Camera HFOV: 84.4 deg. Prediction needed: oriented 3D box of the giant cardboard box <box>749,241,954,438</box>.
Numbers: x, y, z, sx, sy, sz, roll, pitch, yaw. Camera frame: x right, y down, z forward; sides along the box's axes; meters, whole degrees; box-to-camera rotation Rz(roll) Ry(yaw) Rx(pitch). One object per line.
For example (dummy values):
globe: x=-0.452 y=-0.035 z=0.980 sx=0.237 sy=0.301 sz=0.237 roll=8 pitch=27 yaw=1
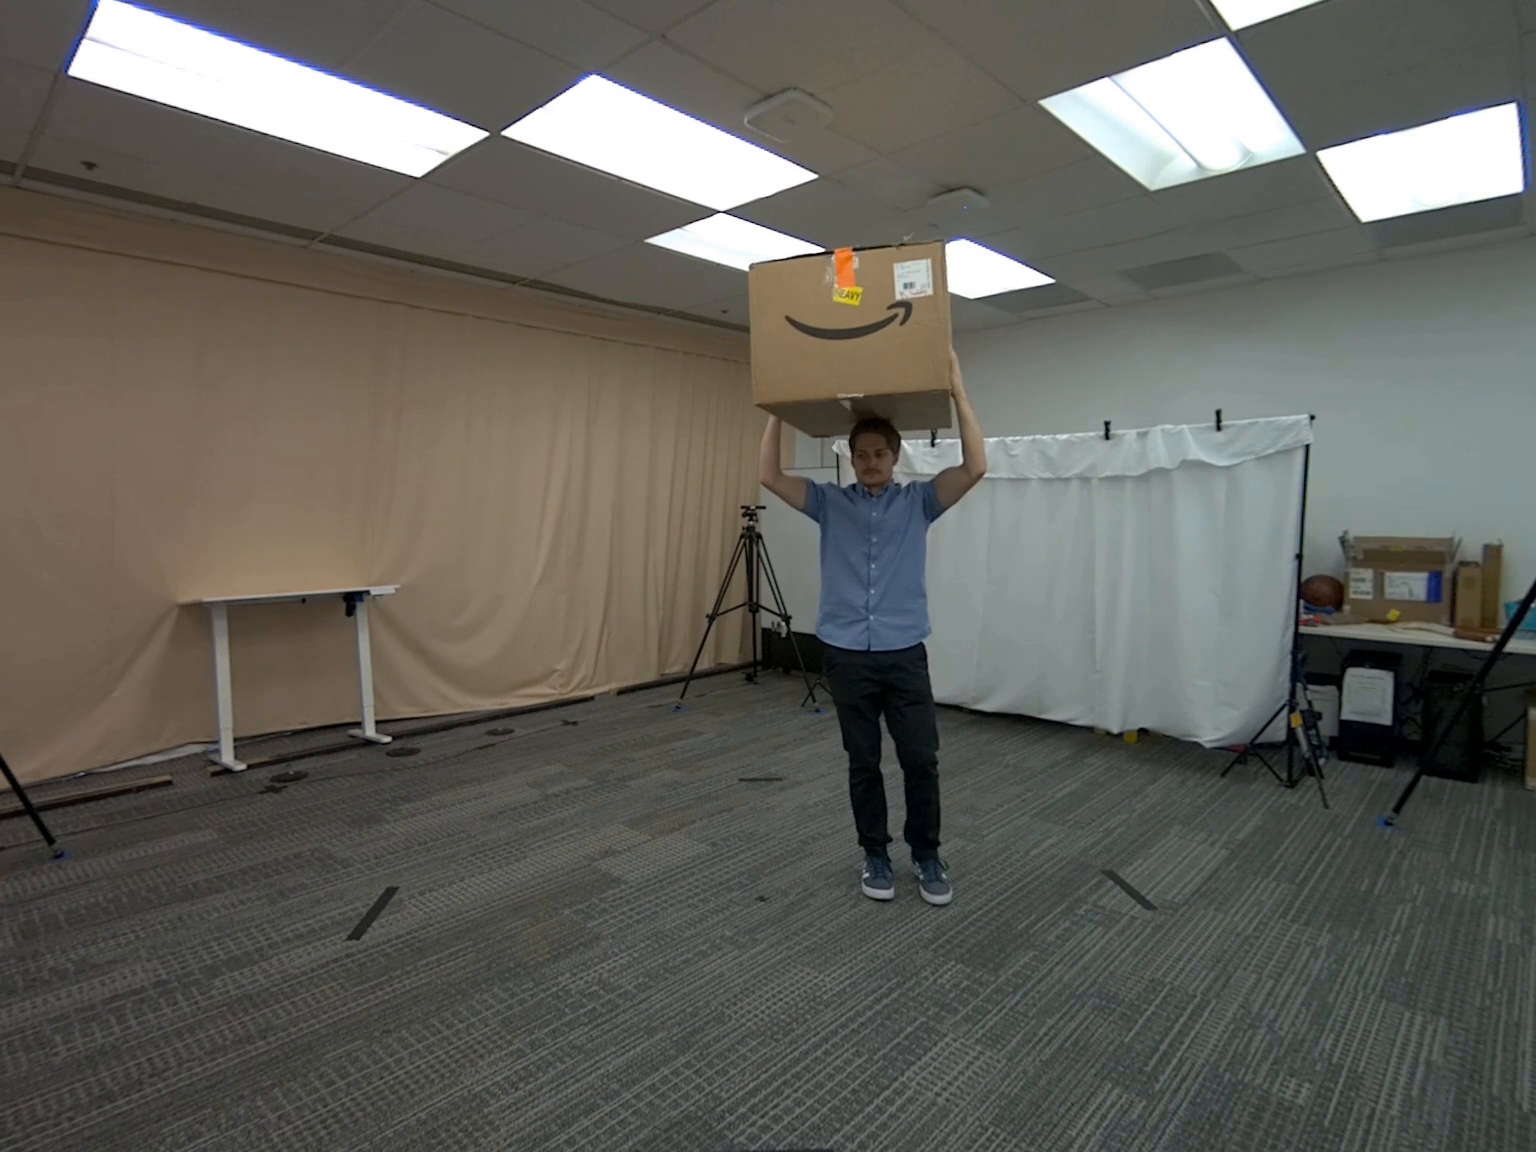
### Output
giant cardboard box: x=0.339 y=-0.761 z=2.921 sx=0.586 sy=0.425 sz=1.012 roll=-2 pitch=3 yaw=14
